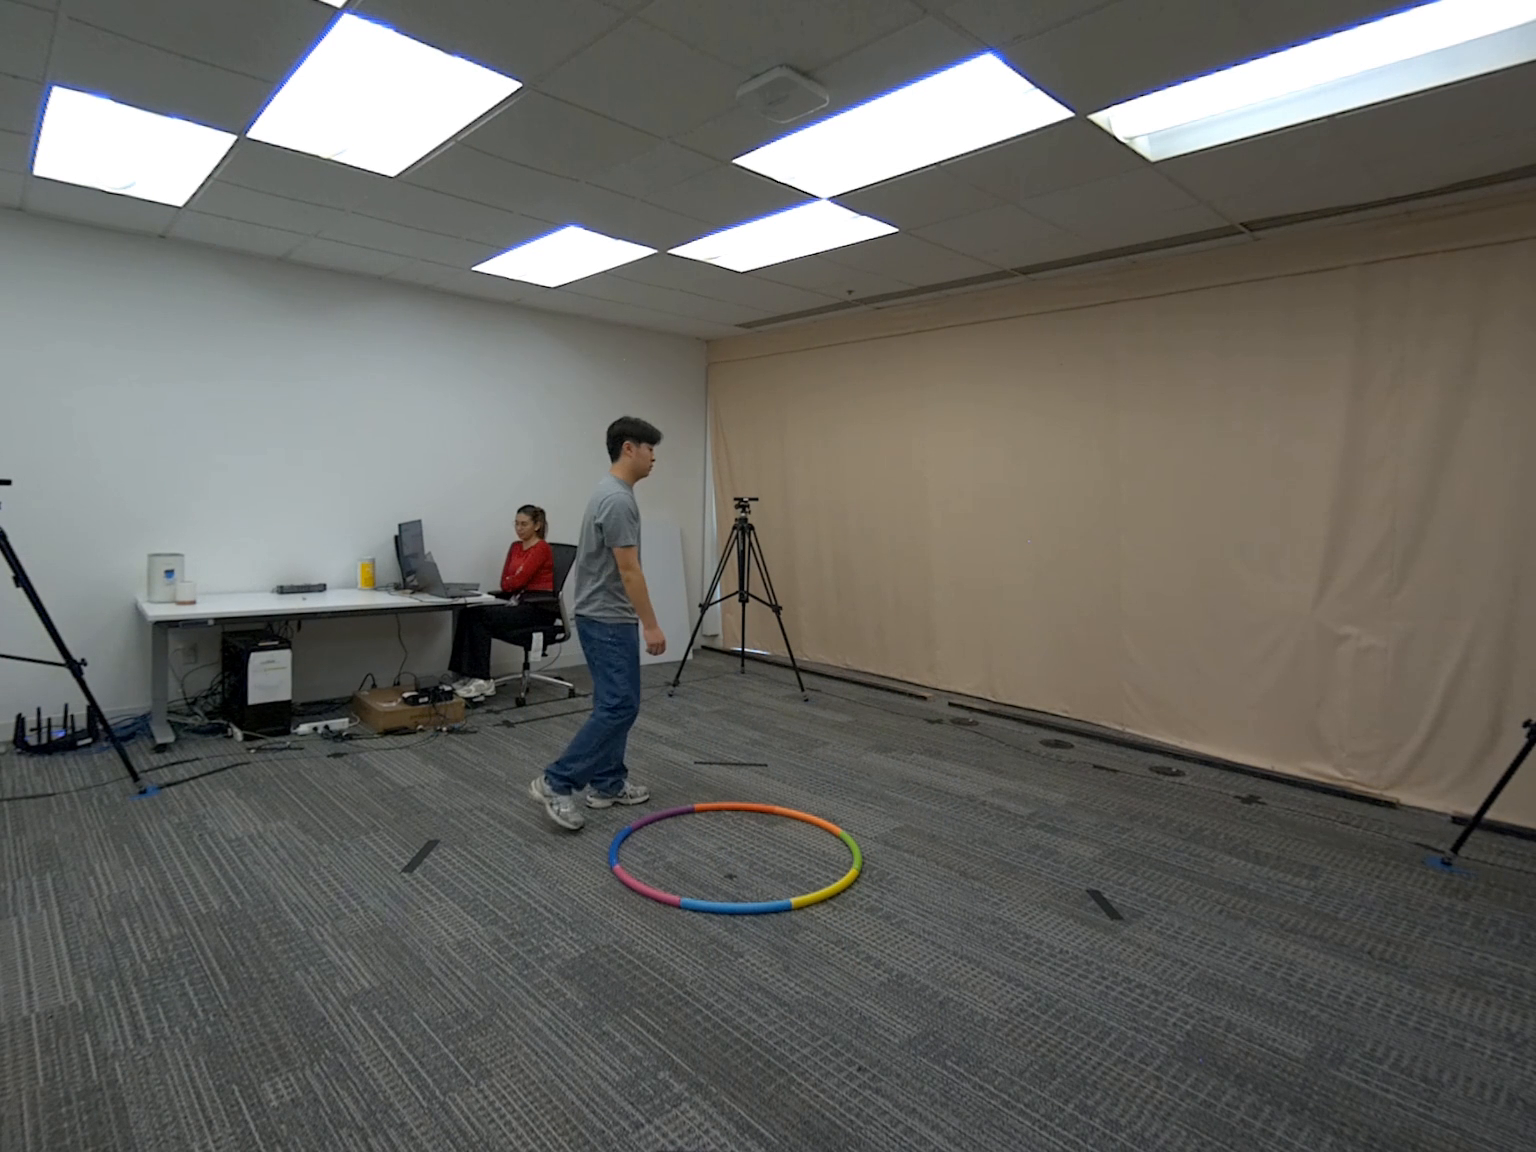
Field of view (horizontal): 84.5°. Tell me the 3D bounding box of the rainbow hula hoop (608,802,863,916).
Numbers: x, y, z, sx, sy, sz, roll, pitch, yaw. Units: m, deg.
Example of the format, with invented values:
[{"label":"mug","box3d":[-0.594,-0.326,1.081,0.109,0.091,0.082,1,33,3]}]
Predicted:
[{"label":"rainbow hula hoop","box3d":[-0.142,1.057,3.300,0.978,0.035,0.982,1,5,-1]}]
